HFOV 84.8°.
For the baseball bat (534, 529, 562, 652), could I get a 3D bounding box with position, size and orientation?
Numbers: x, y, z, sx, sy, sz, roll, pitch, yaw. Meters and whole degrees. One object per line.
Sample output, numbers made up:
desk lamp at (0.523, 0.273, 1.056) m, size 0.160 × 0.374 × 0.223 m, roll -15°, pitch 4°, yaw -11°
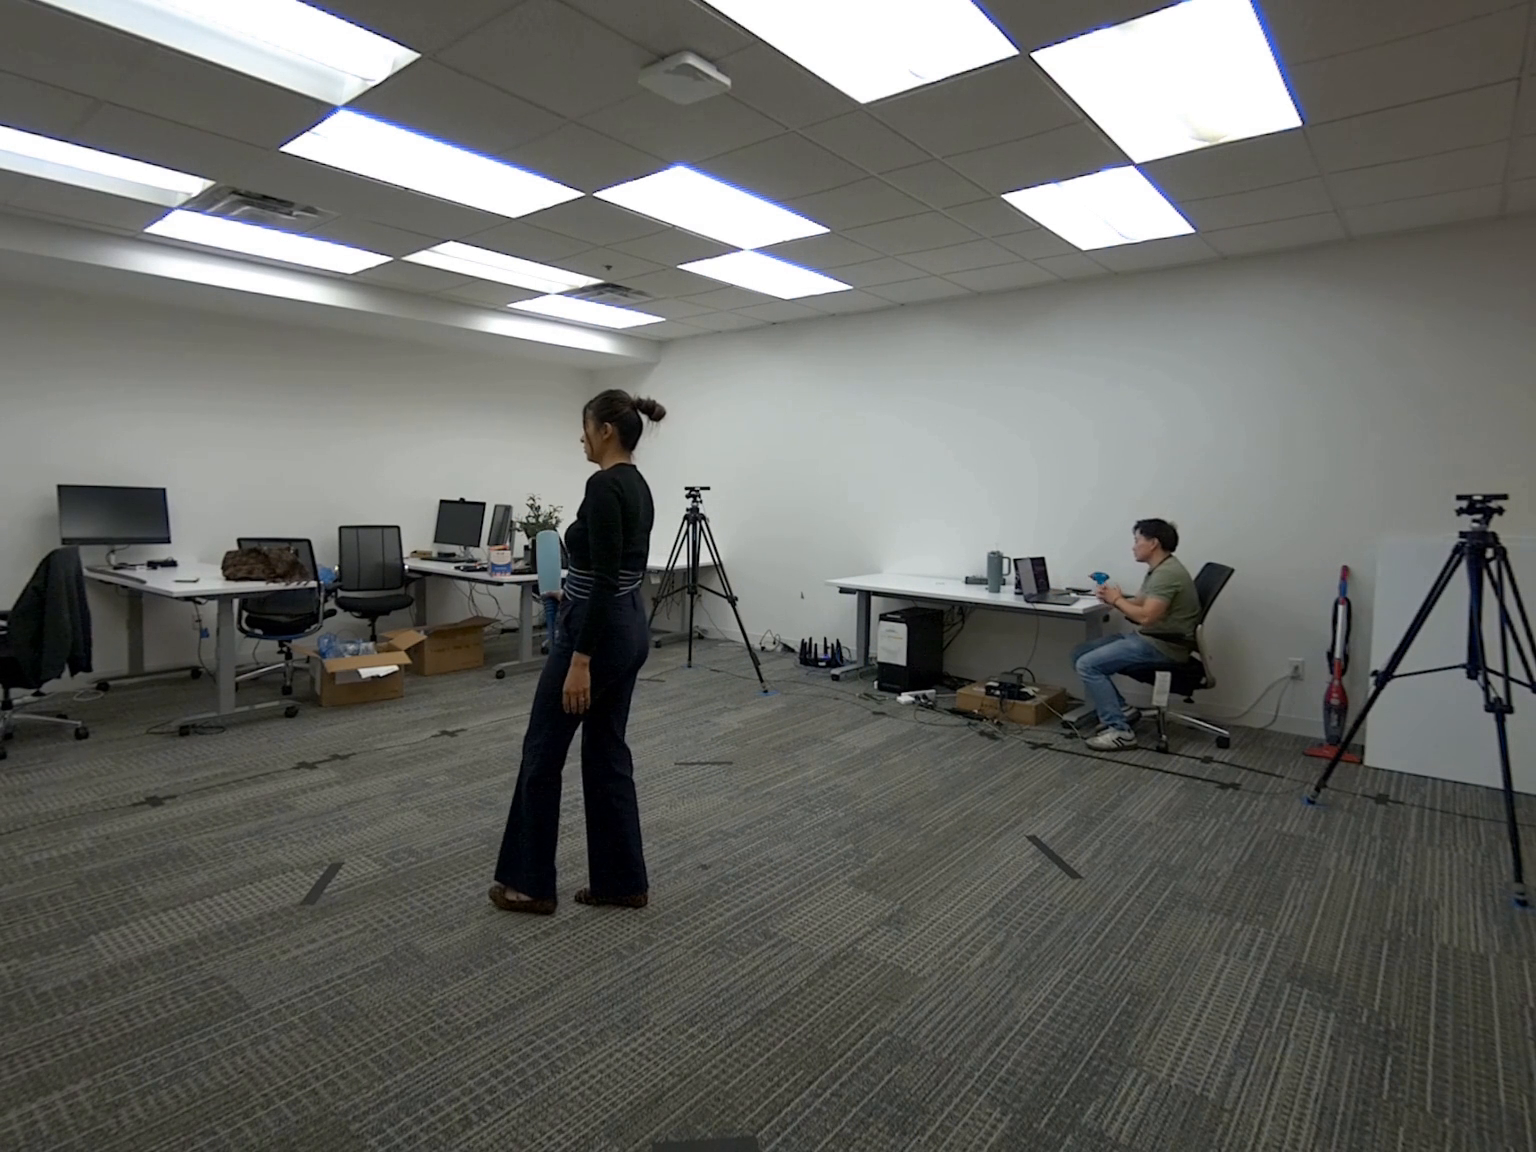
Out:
baseball bat at (-0.811, 0.081, 3.113) m, size 0.089 × 0.554 × 0.087 m, roll -6°, pitch -19°, yaw -4°
